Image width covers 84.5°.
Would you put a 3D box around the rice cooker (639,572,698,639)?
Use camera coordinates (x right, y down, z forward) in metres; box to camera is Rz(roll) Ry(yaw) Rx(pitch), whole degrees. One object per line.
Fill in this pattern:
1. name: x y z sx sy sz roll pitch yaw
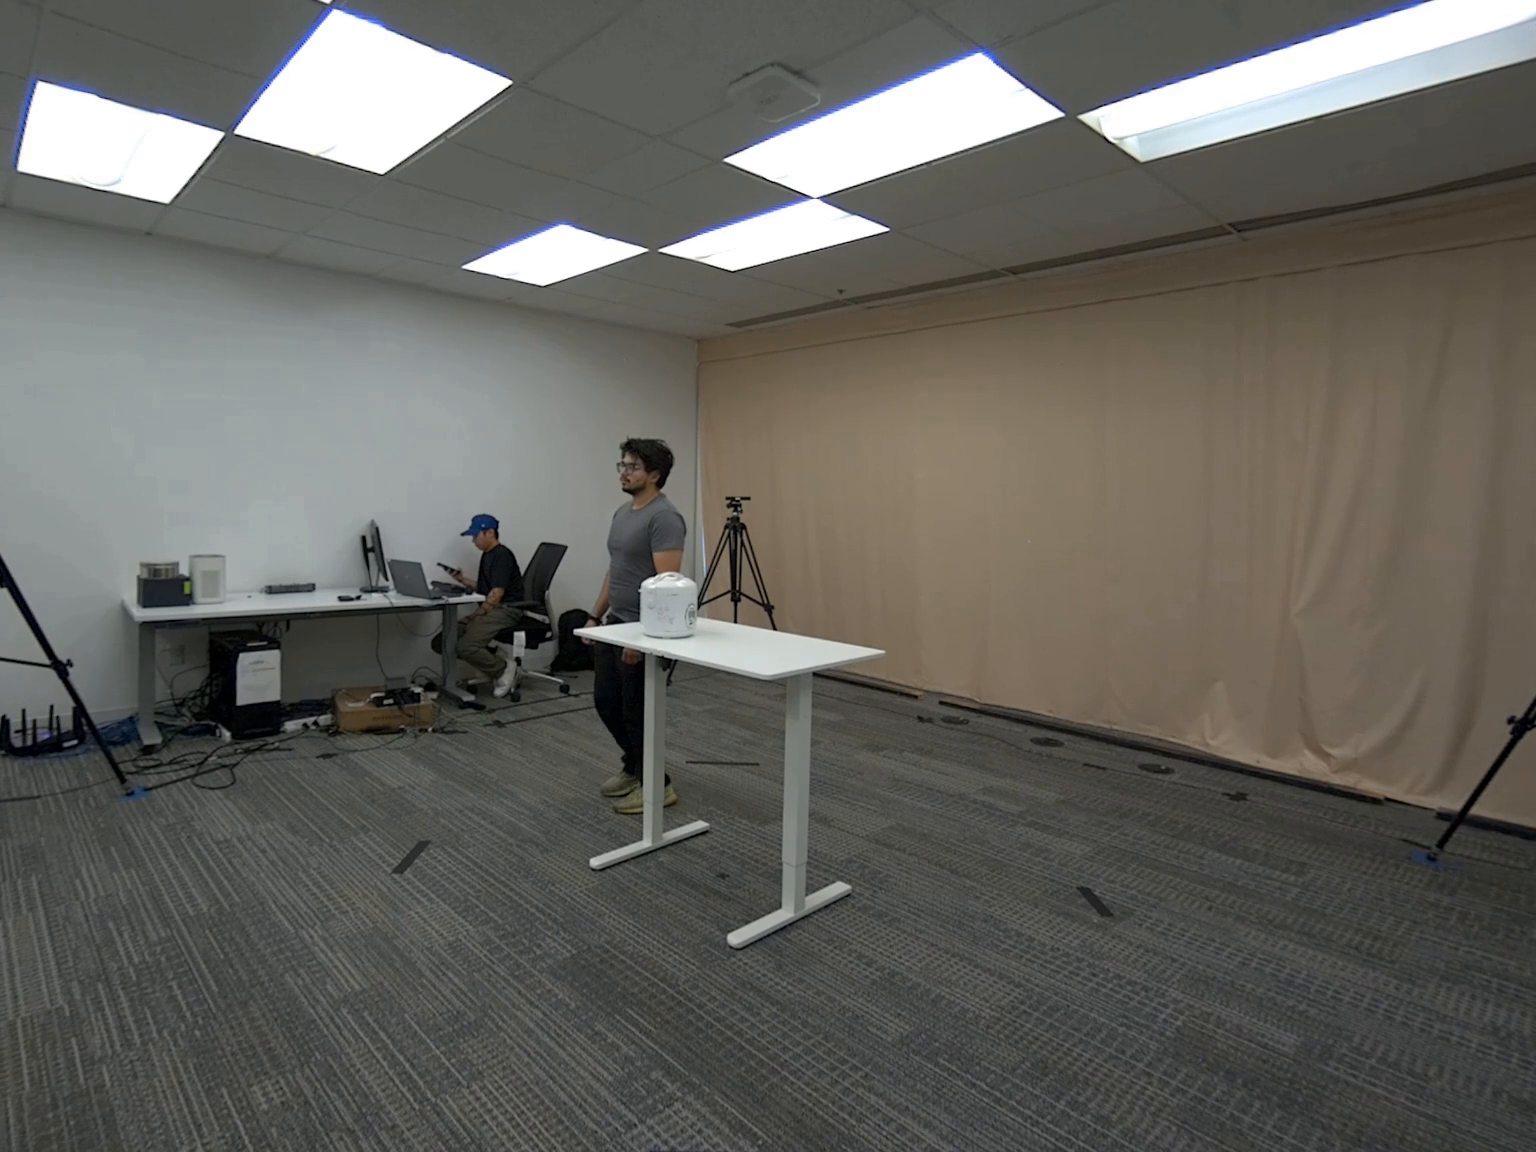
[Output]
1. rice cooker: -0.368 0.102 3.097 0.222 0.232 0.216 3 5 34
